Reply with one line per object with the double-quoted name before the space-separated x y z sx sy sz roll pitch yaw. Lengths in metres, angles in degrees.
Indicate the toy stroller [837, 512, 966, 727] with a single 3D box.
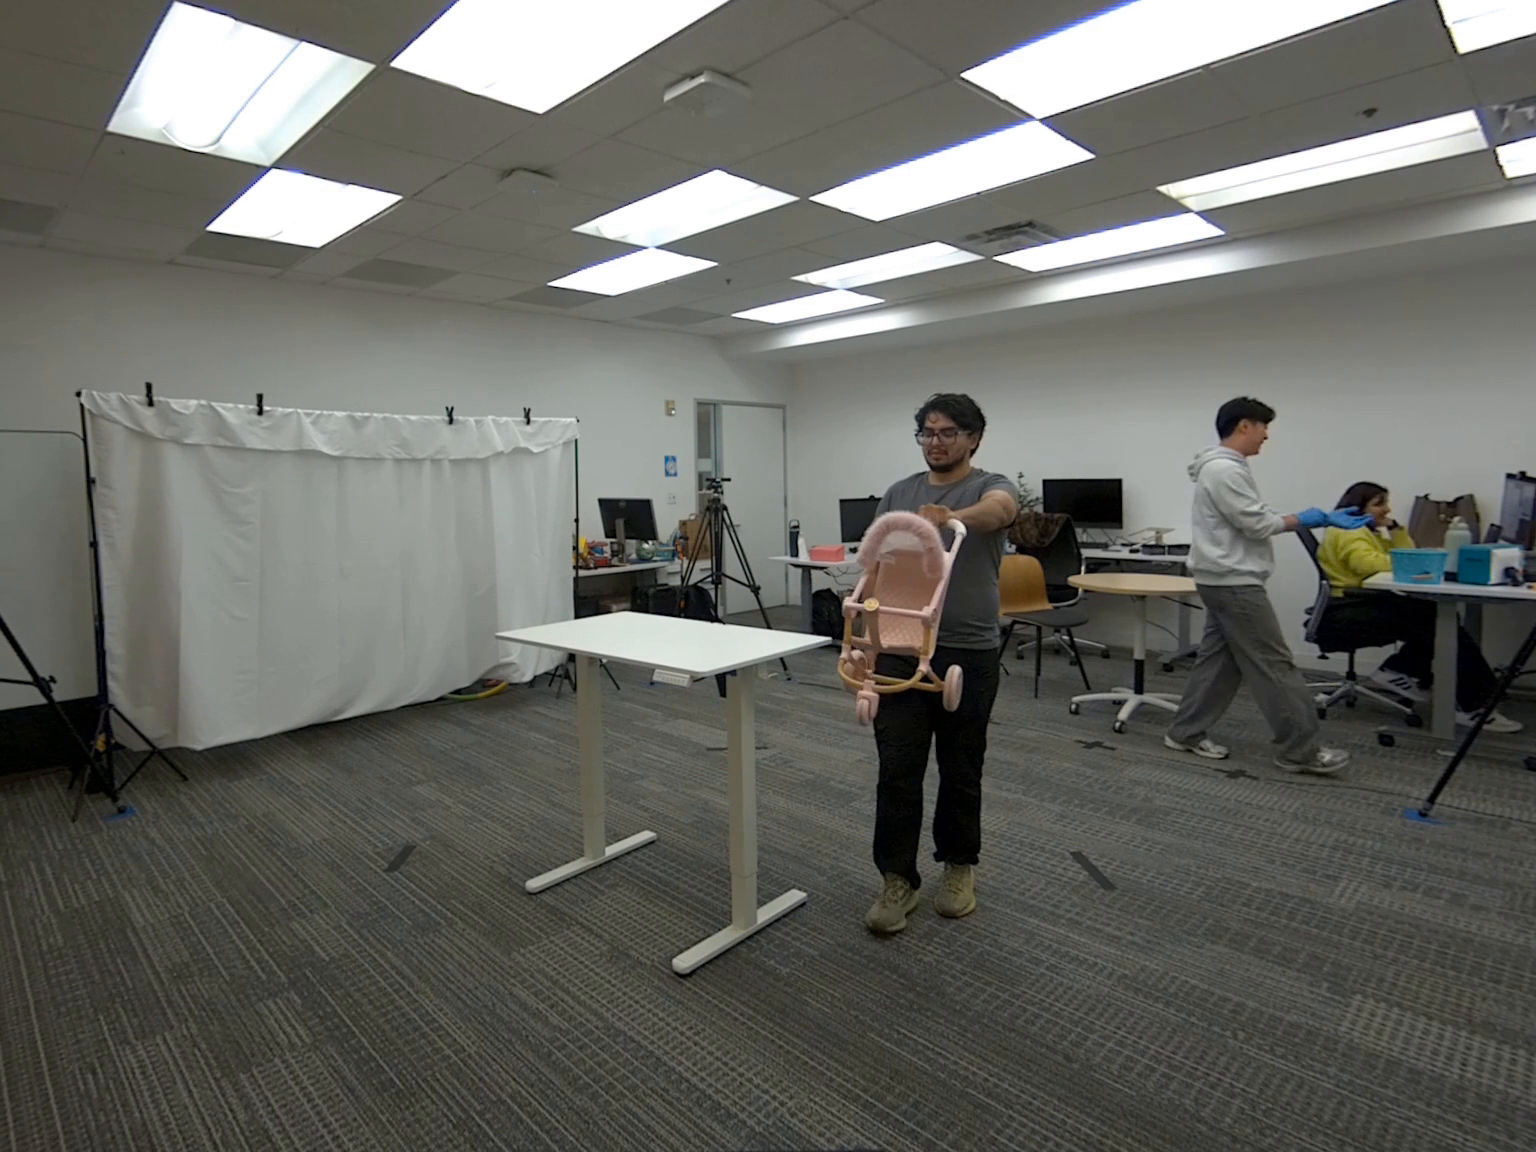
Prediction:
"toy stroller" 0.315 0.094 2.033 0.289 0.537 0.330 5 -7 31
